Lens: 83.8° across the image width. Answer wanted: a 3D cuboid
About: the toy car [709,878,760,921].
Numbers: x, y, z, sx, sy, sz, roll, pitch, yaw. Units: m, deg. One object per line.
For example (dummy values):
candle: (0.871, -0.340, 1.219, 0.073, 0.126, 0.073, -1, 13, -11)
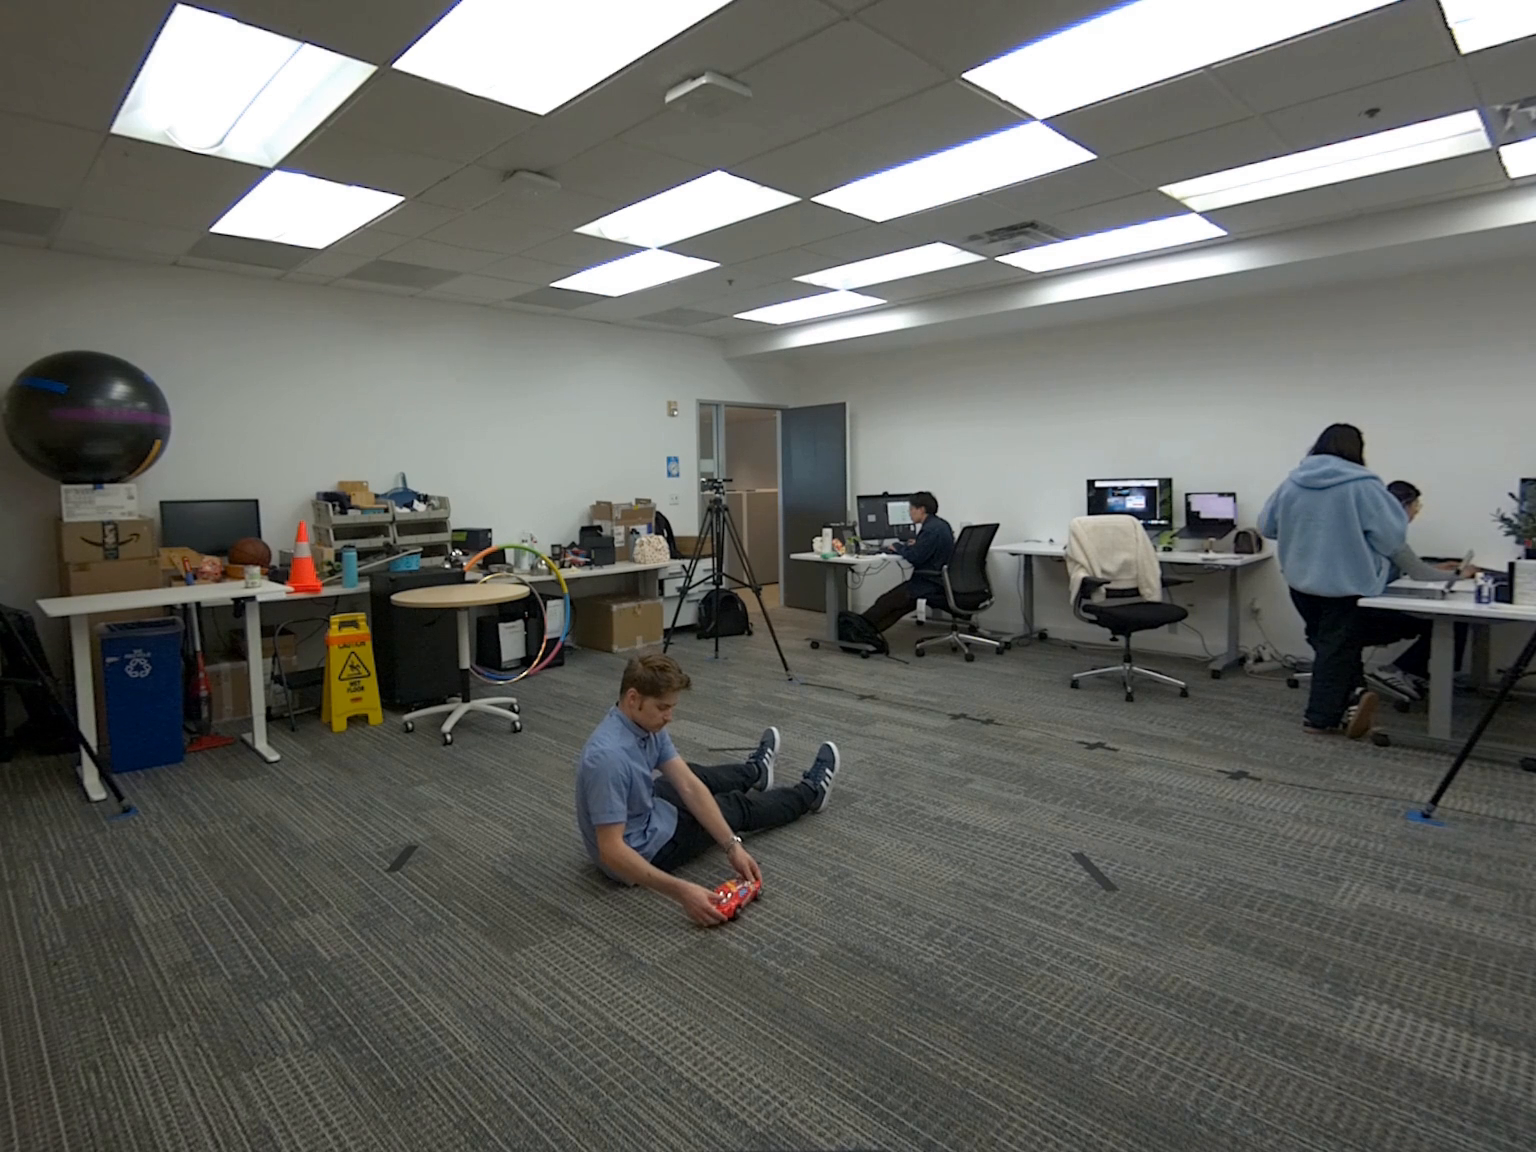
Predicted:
toy car: (-0.117, 1.054, 2.786, 0.133, 0.083, 0.248, 3, -3, 25)
